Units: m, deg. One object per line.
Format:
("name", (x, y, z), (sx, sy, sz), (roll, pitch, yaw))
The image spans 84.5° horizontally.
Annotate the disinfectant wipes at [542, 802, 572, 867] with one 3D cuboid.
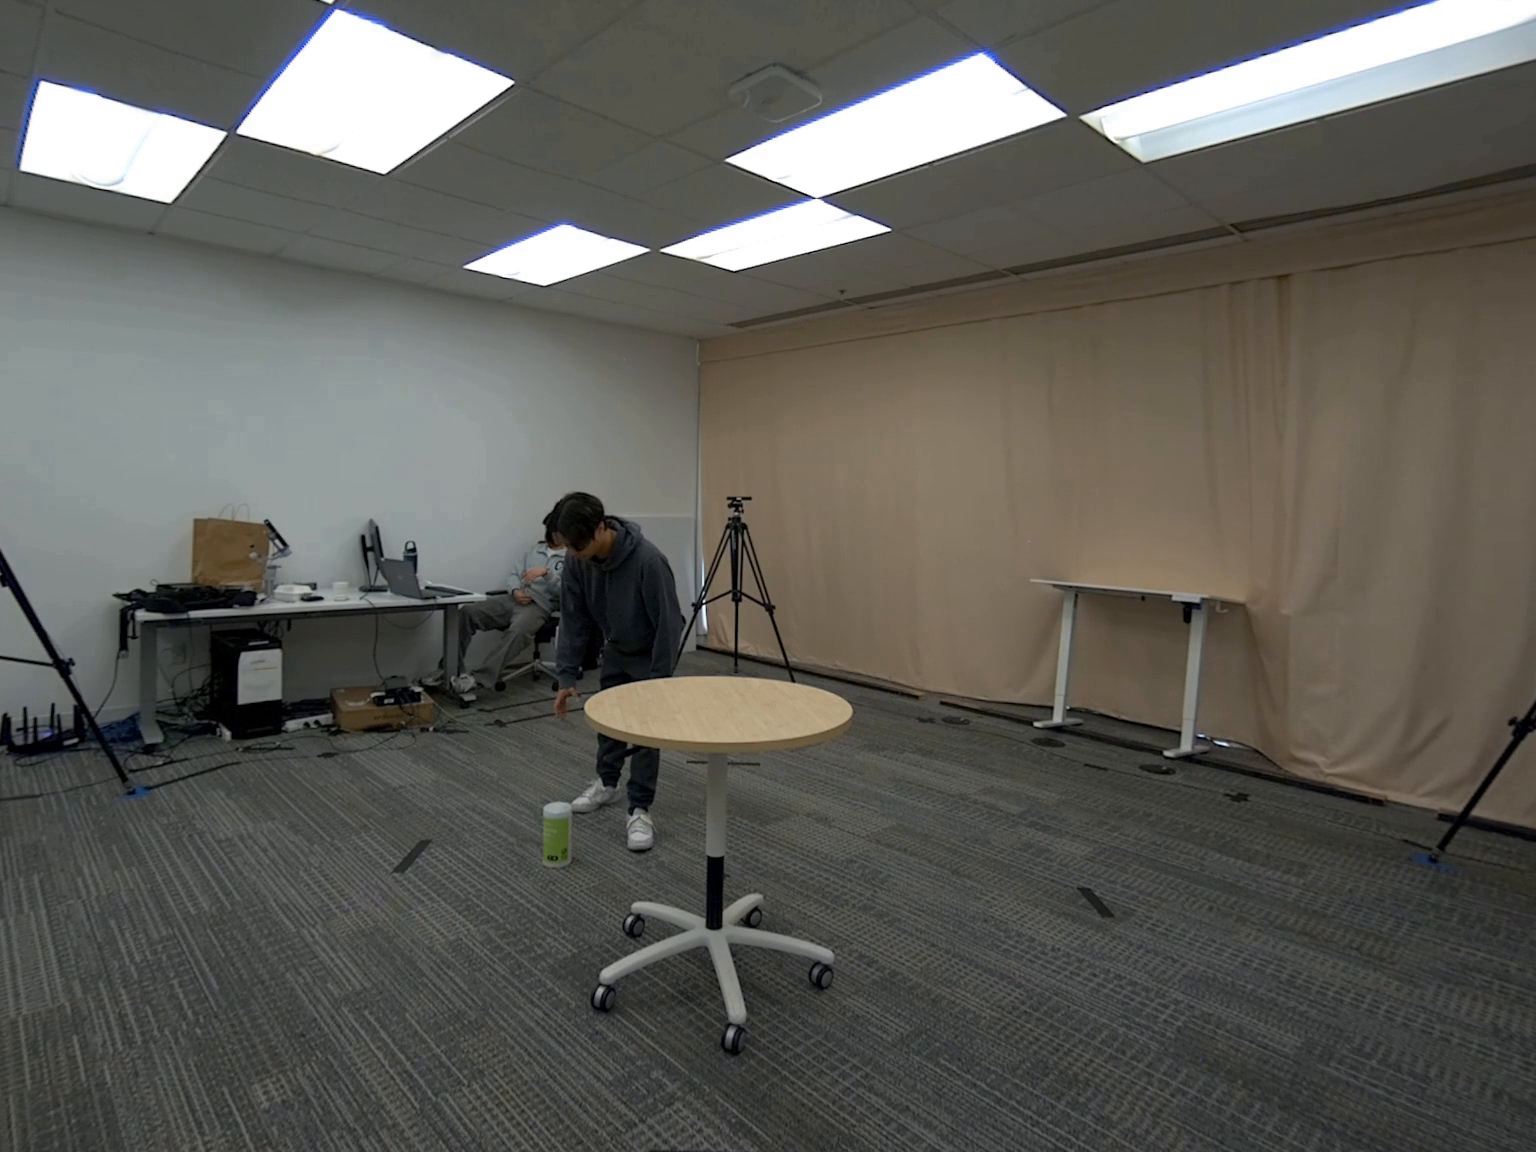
("disinfectant wipes", (-0.810, 0.979, 3.179), (0.118, 0.217, 0.118), (0, 4, -1))
